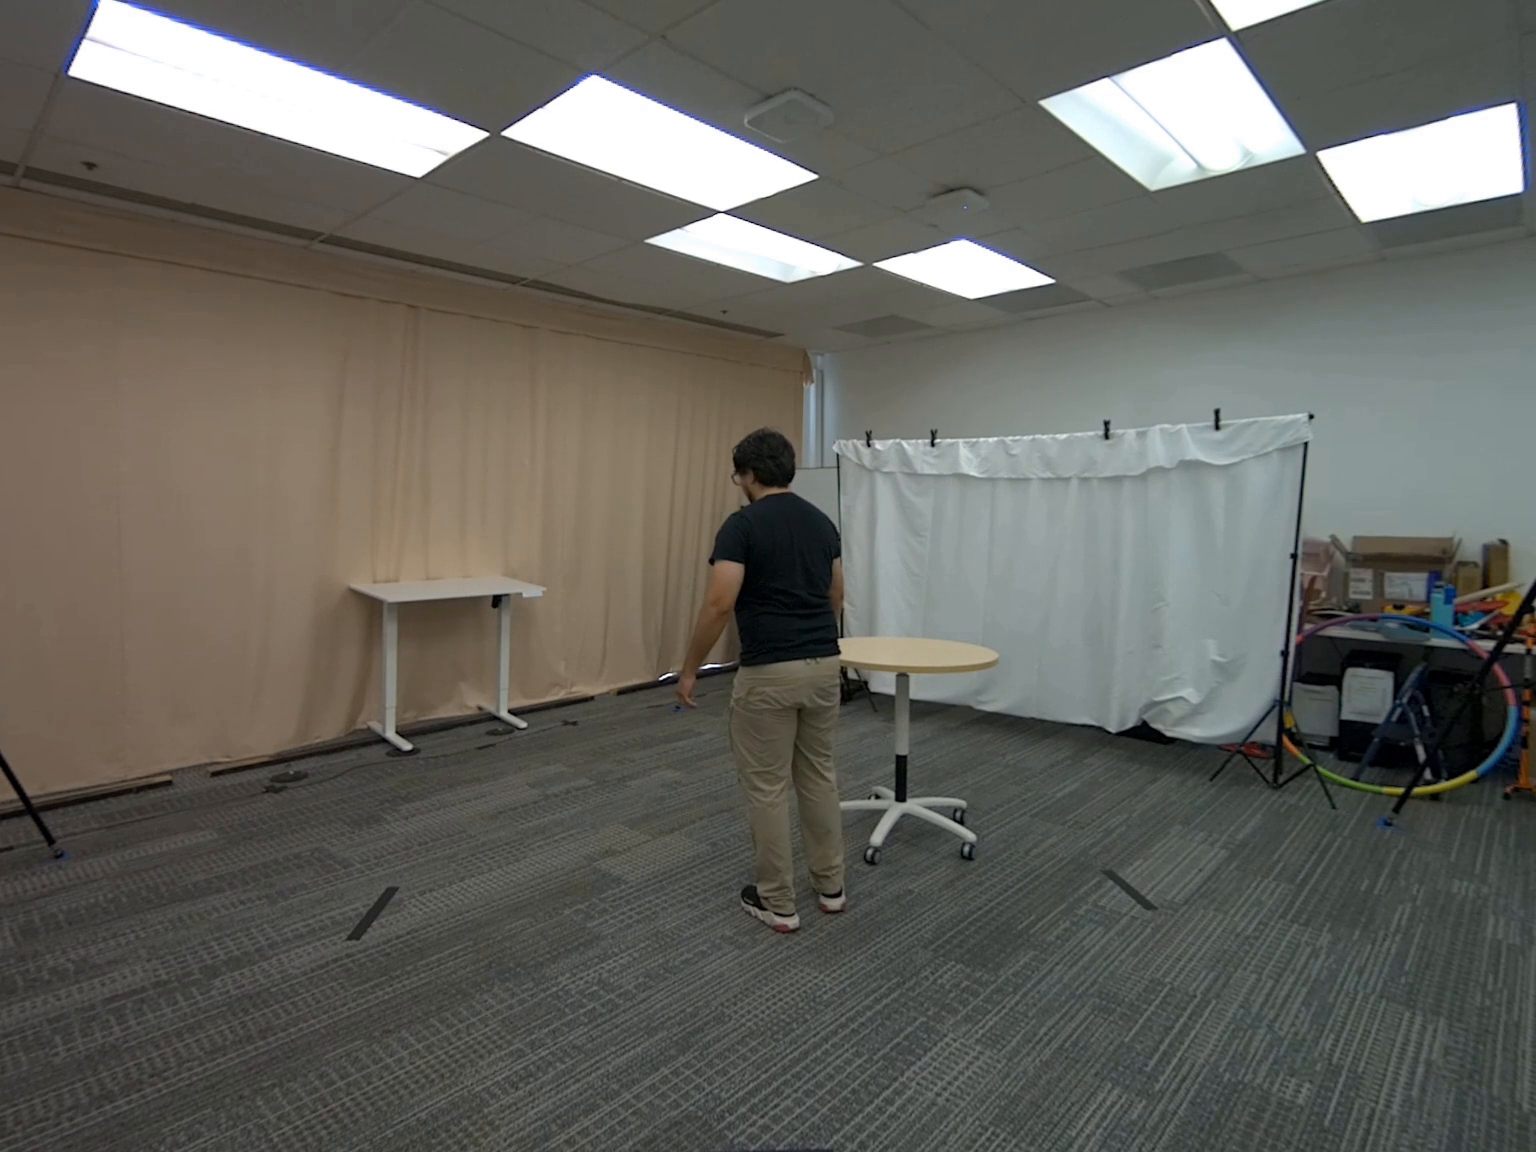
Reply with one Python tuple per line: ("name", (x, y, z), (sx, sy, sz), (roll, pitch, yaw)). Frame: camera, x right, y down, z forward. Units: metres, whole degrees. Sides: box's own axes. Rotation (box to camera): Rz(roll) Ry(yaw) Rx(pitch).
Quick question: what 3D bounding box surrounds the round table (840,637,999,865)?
("round table", (0.553, 0.698, 3.563), (0.784, 0.785, 0.787), (1, 3, -2))
